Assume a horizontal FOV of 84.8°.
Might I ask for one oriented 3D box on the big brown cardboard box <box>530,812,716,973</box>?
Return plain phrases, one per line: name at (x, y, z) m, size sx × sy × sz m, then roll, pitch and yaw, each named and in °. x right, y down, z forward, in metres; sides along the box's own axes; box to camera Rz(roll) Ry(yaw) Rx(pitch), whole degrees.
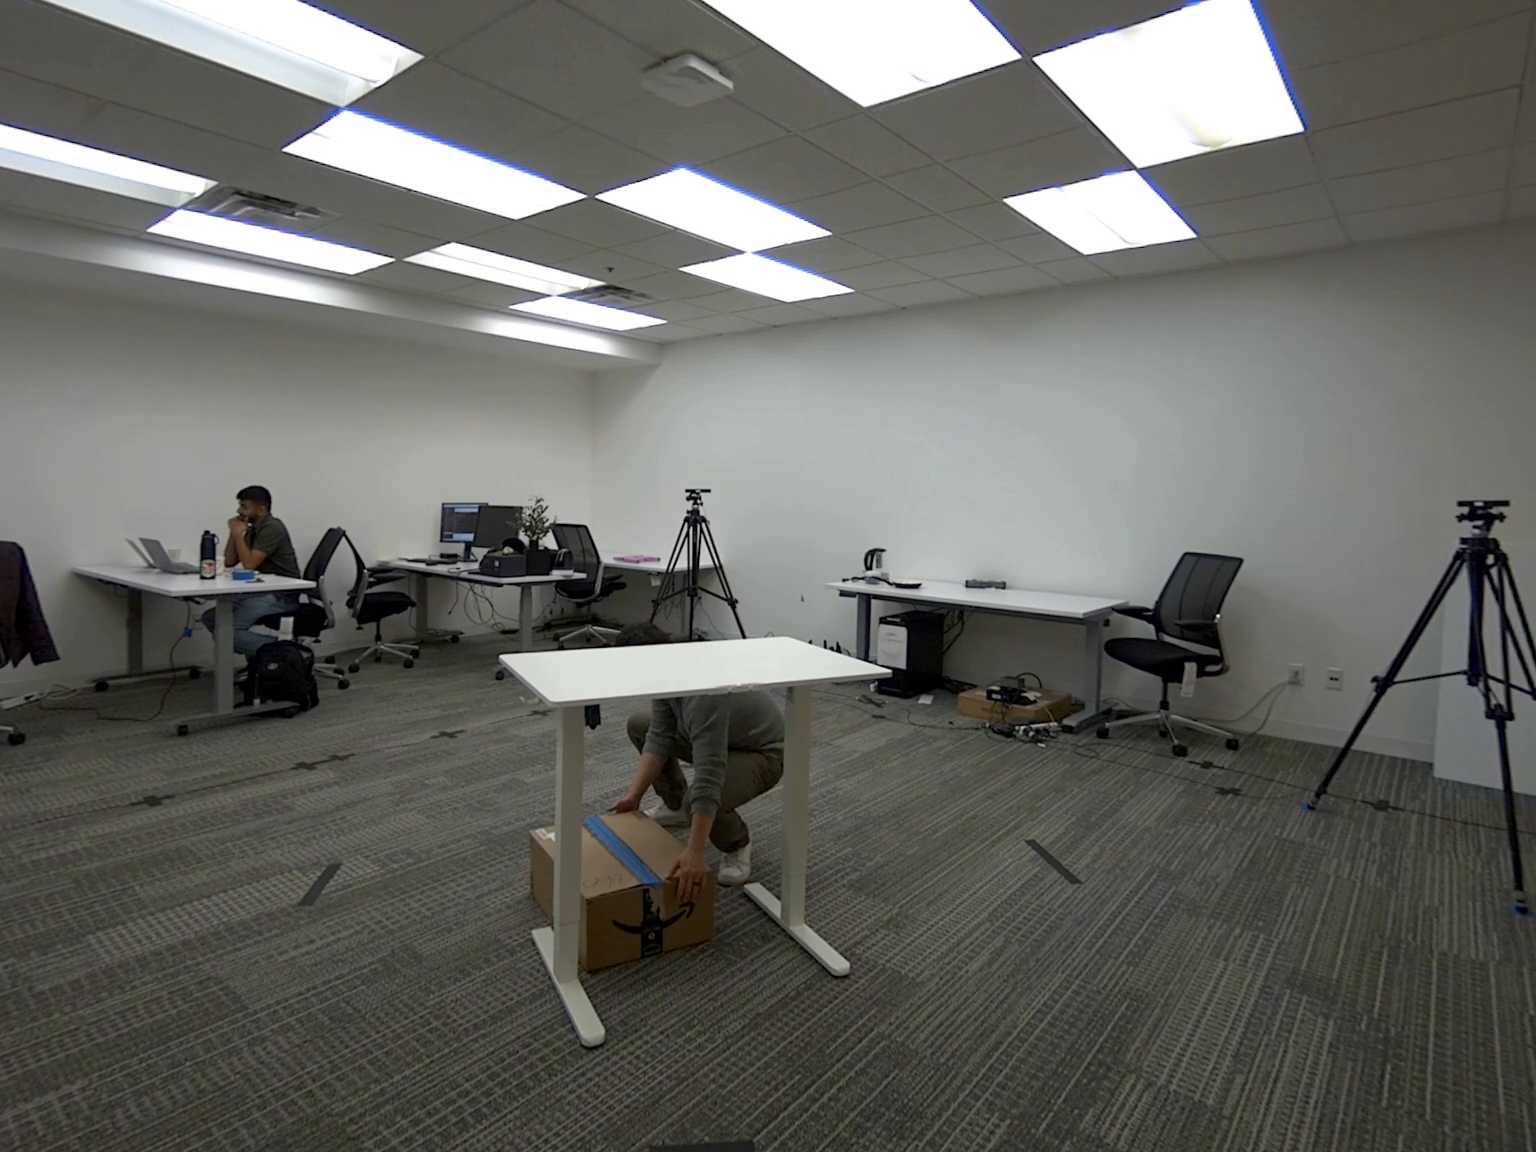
big brown cardboard box at (-0.508, 0.990, 2.765) m, size 0.406 × 0.232 × 0.607 m, roll -2°, pitch 6°, yaw -31°
